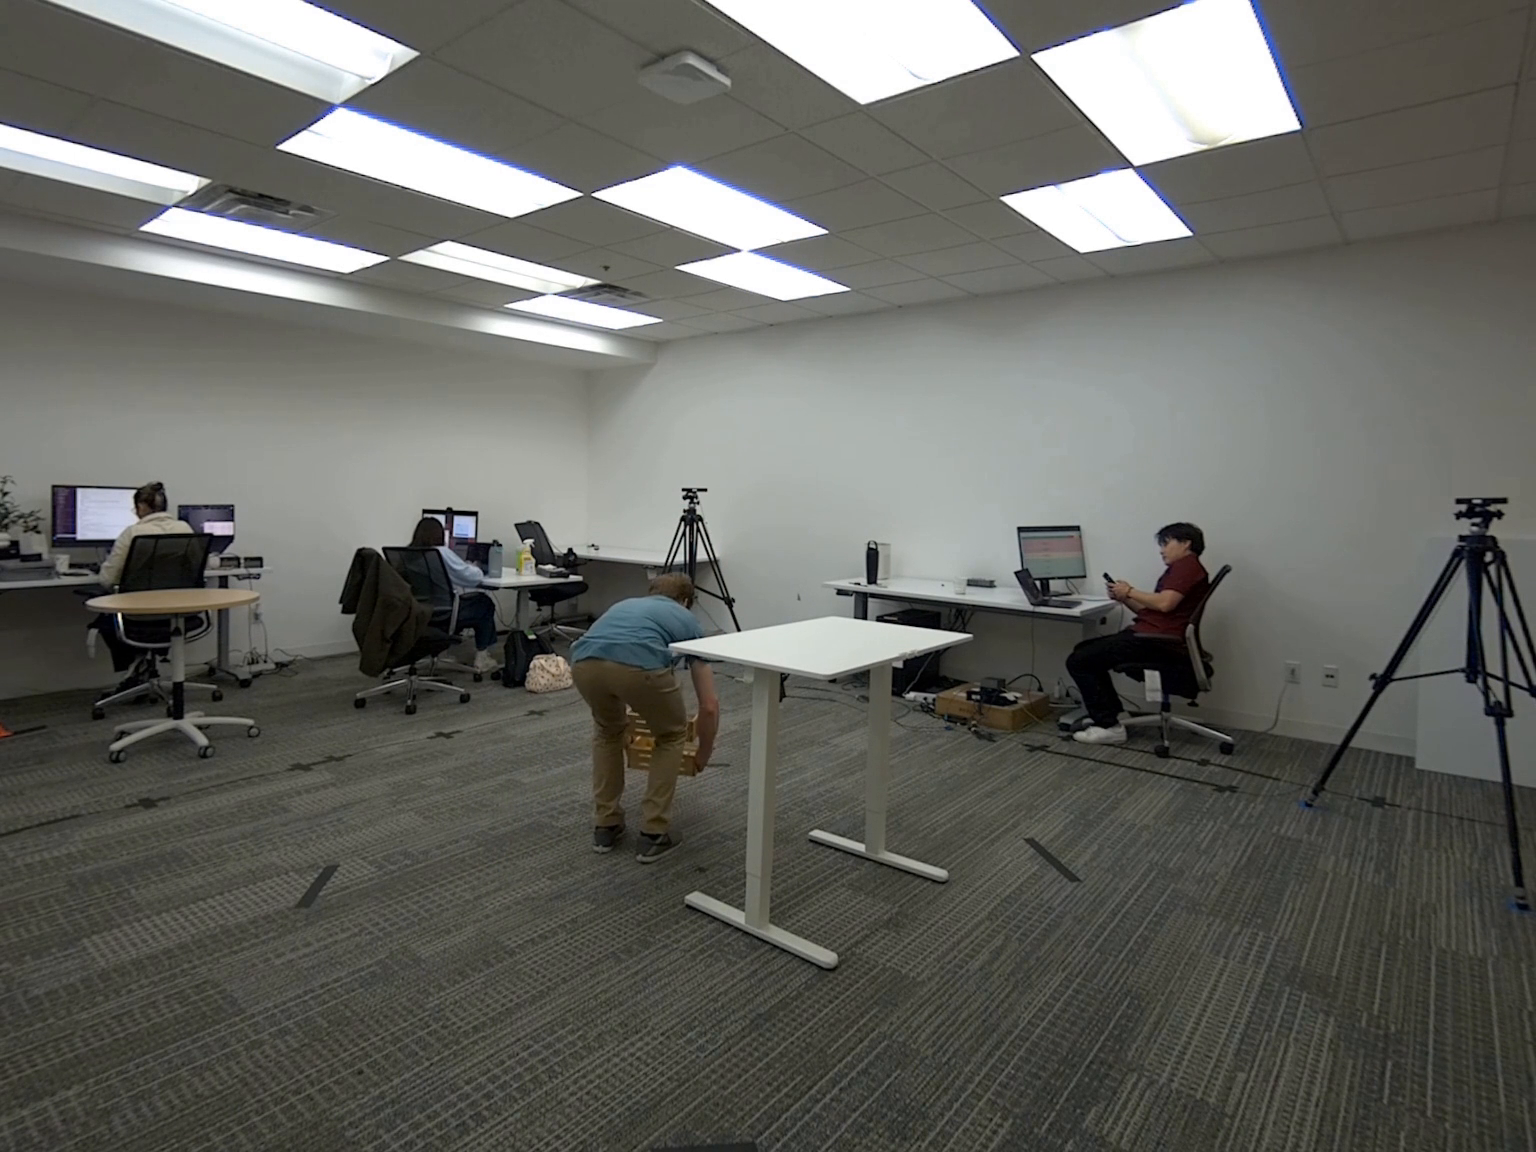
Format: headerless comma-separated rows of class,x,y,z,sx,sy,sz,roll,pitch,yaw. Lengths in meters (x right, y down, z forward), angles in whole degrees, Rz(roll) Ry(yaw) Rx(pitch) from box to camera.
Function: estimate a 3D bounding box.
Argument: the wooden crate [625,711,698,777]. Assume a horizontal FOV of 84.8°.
wooden crate,-0.448,0.685,3.684,0.329,0.272,0.299,3,7,12
